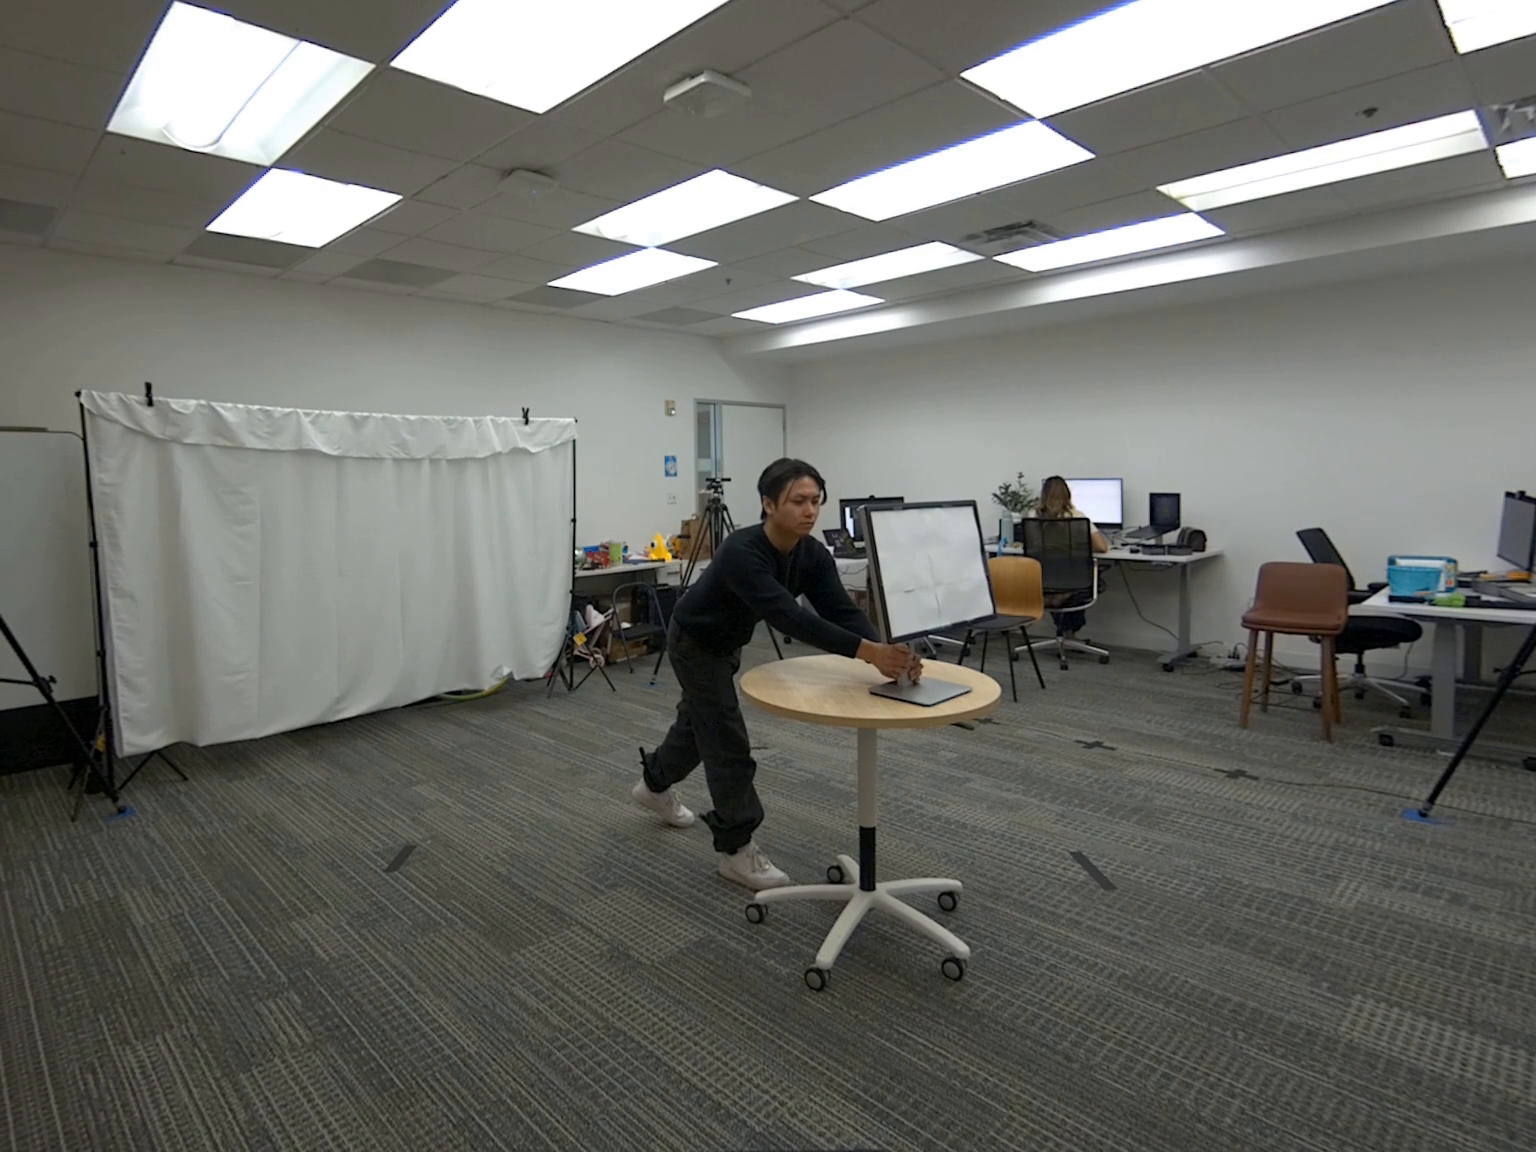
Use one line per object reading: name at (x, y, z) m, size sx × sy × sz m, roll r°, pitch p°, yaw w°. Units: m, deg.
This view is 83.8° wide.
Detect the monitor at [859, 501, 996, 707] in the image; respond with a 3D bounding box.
monitor at (0.440, 0.064, 2.414) m, size 0.193 × 0.520 × 0.525 m, roll 4°, pitch 6°, yaw 42°
